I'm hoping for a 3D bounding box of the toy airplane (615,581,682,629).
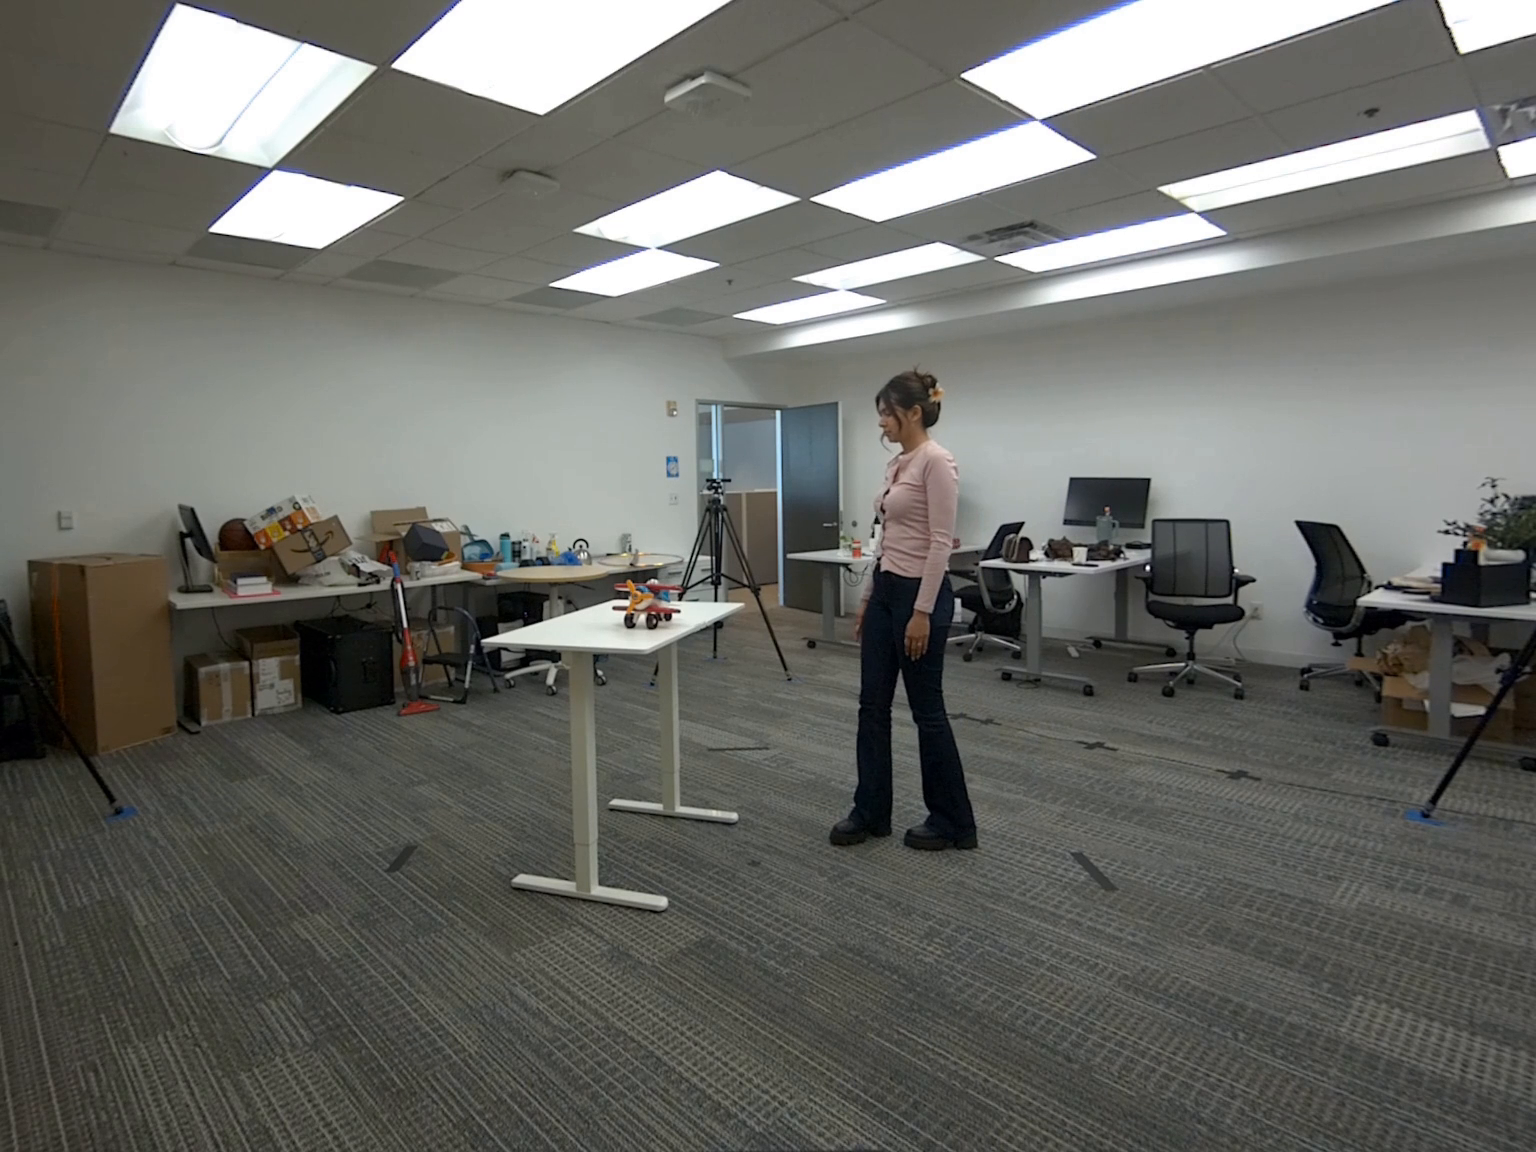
[{"bbox_3d":[-0.432,0.097,3.065,0.249,0.155,0.263,-2,7,-10],"label":"toy airplane"}]
